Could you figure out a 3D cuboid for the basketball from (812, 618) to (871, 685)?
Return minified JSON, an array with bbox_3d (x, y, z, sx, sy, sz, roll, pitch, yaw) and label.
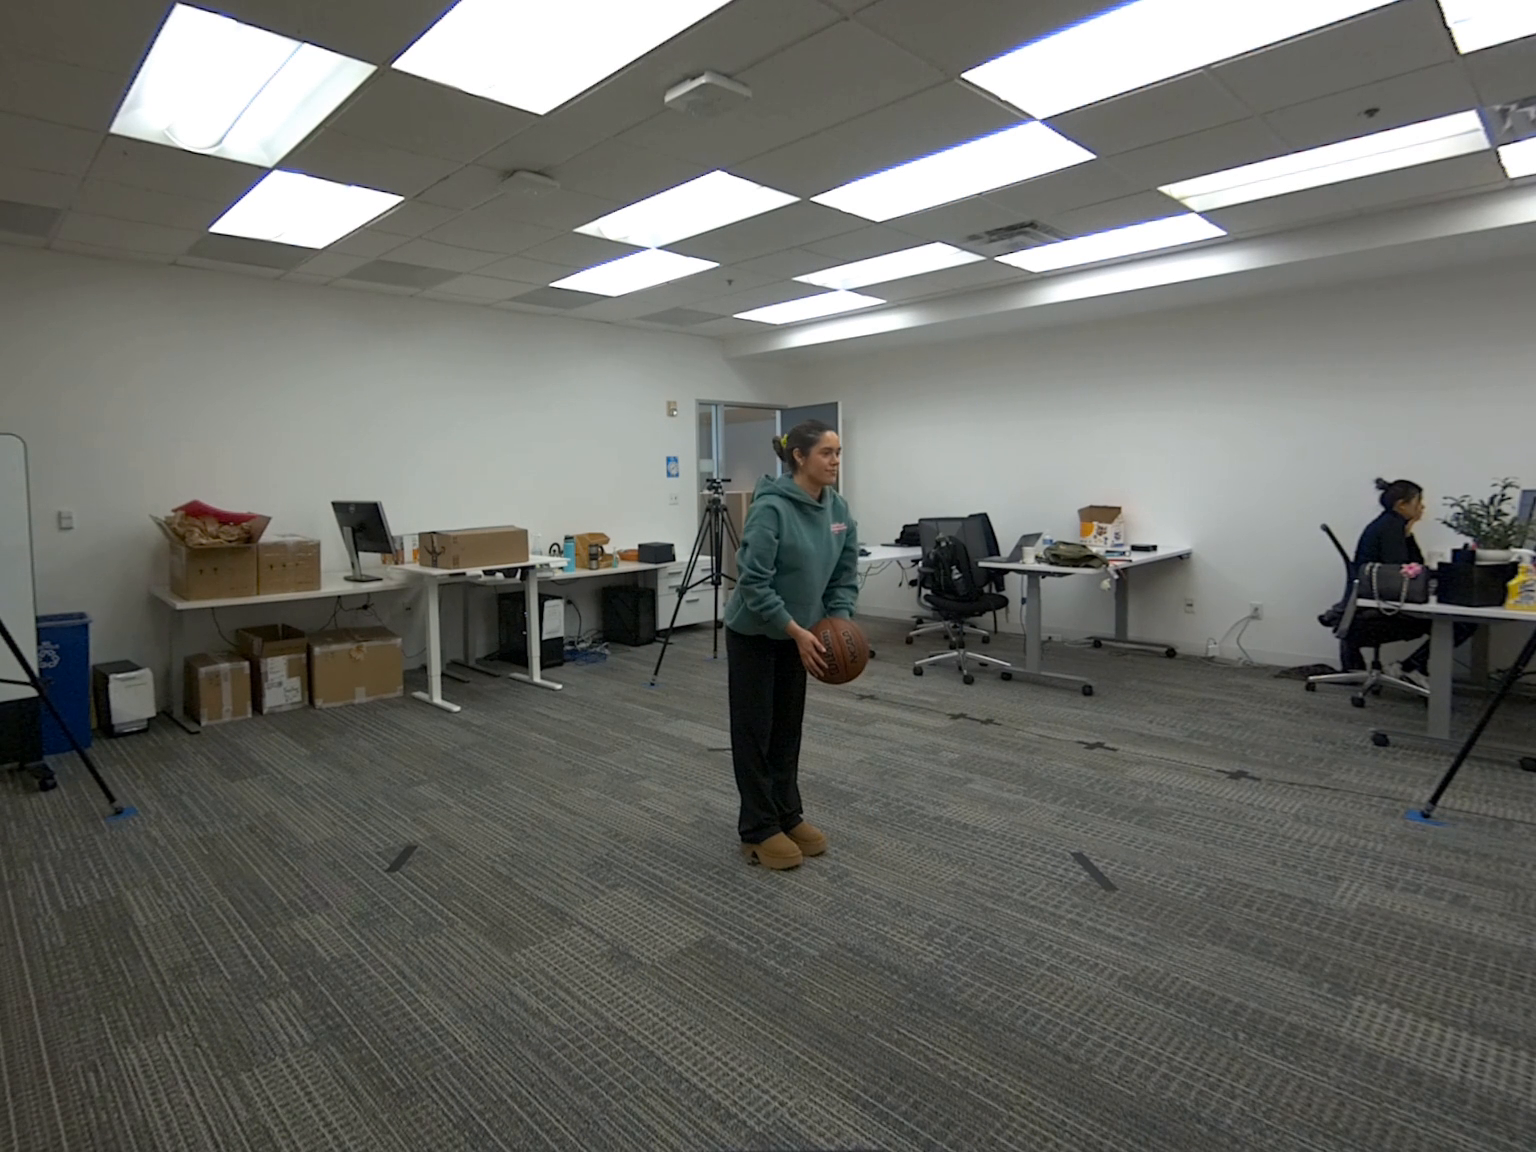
[{"bbox_3d":[0.235,0.263,2.977,0.236,0.235,0.237,-1,5,-2],"label":"basketball"}]
